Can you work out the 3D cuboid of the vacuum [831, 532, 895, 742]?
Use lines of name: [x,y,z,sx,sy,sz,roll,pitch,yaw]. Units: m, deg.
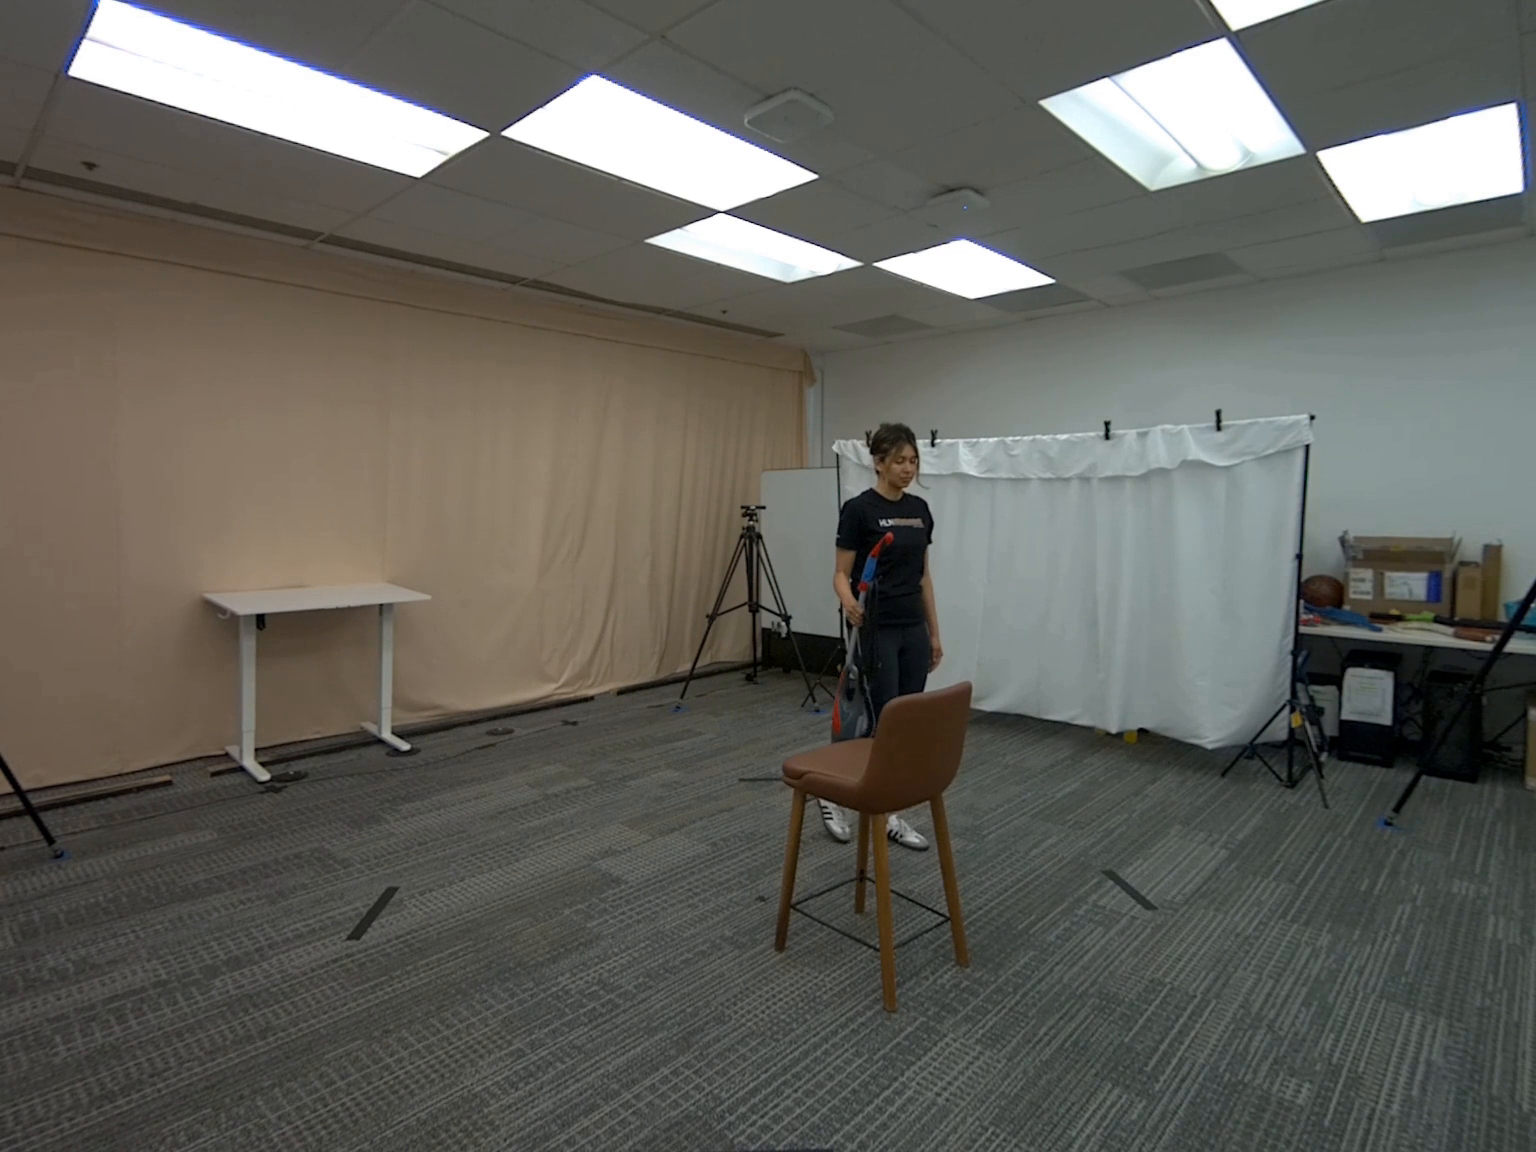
vacuum: [0.339,0.357,3.180,0.149,1.044,0.245,21,16,36]
